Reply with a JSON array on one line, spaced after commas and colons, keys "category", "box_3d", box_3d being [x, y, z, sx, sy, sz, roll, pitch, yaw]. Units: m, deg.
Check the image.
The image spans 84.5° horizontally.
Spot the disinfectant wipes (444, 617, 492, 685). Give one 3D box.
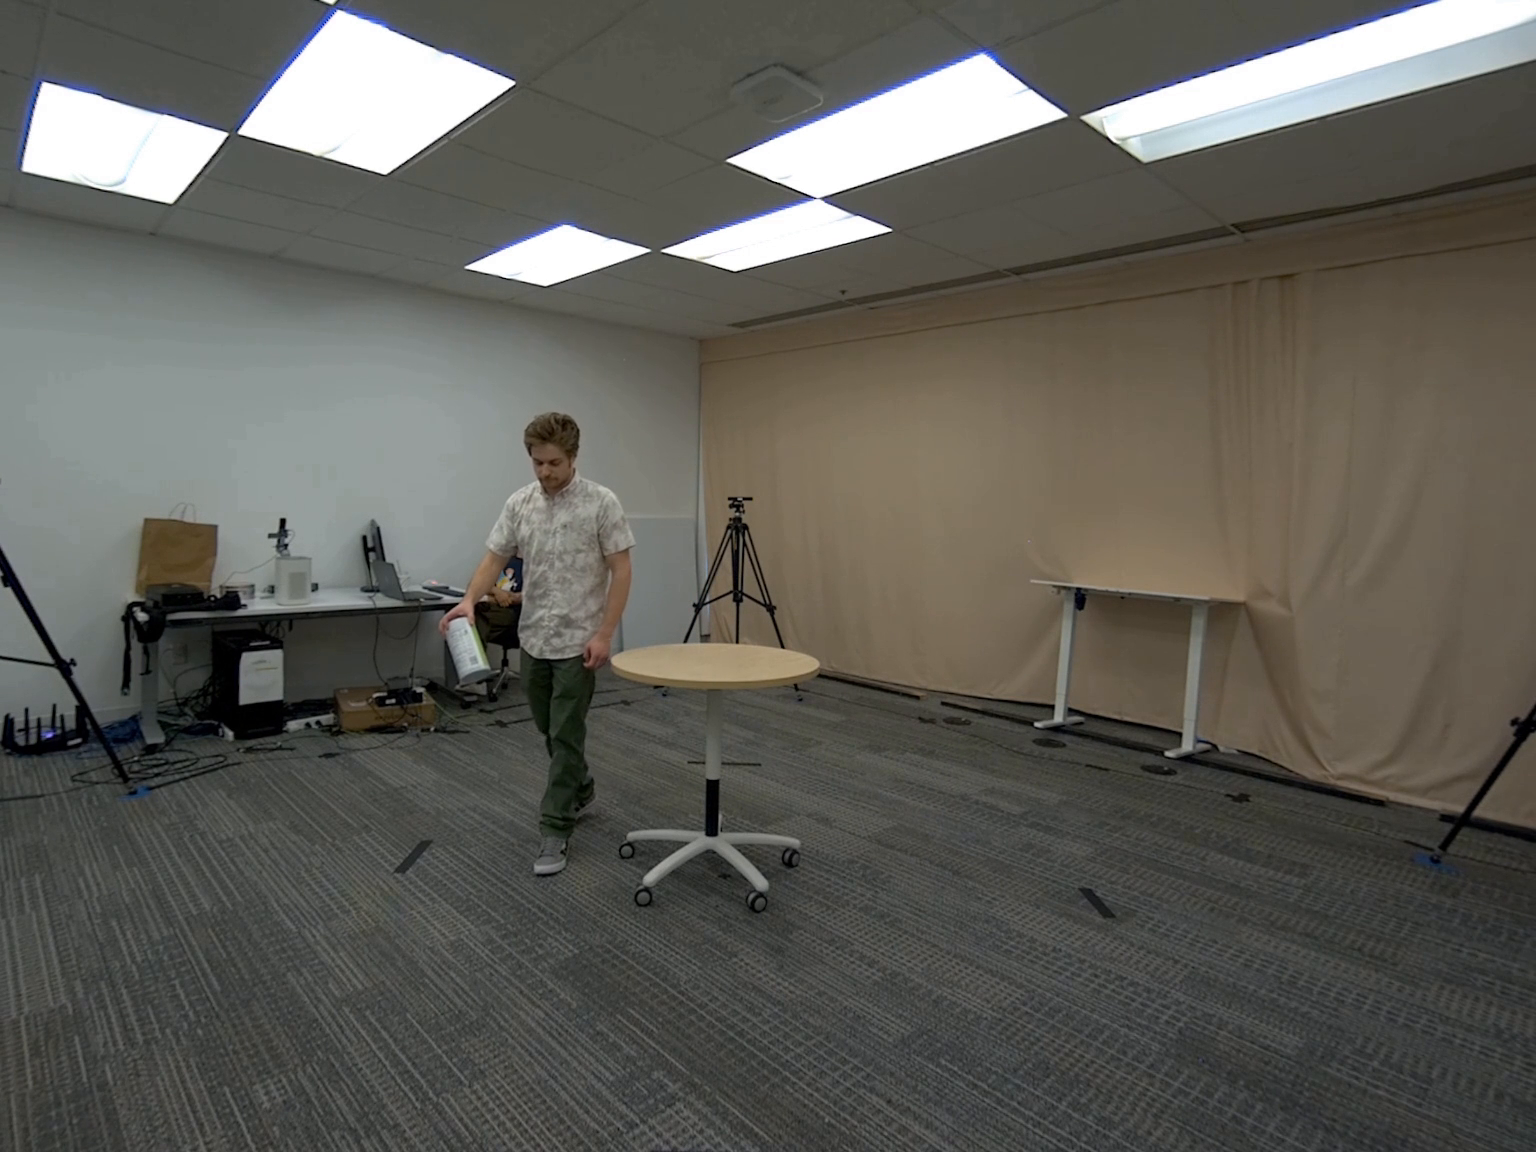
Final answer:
[{"category": "disinfectant wipes", "box_3d": [-1.087, 0.267, 2.997, 0.117, 0.221, 0.116, -20, -19, -9]}]
